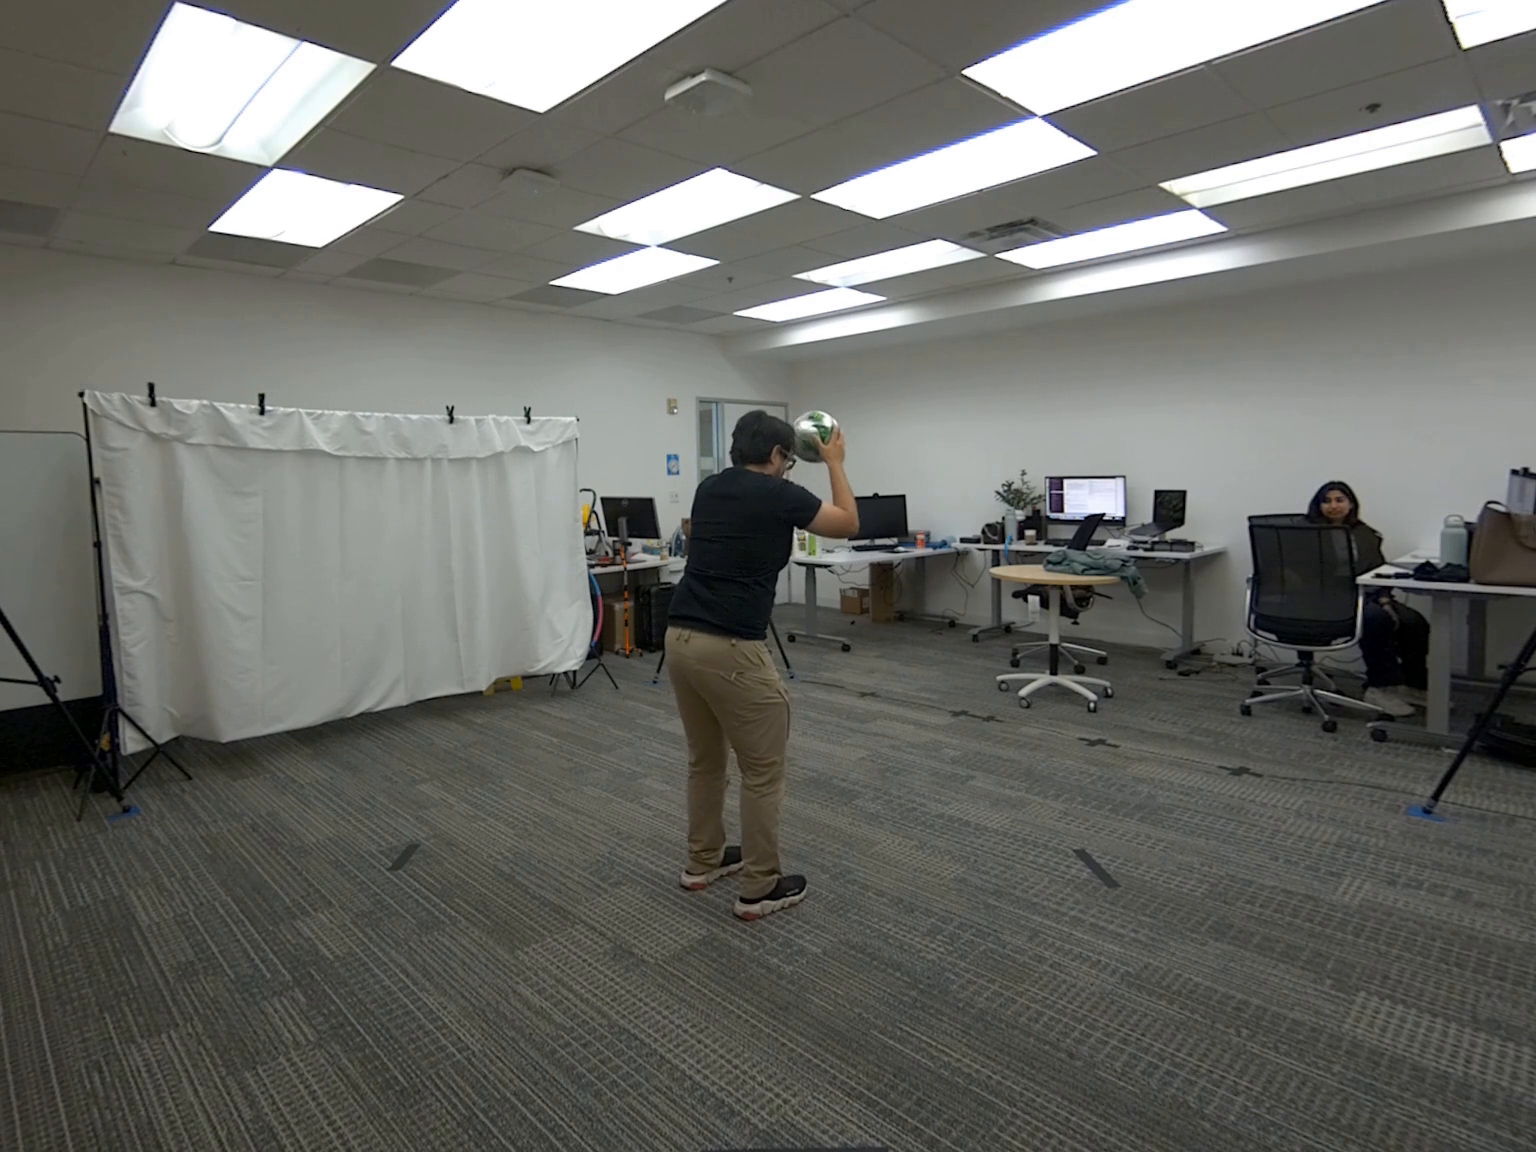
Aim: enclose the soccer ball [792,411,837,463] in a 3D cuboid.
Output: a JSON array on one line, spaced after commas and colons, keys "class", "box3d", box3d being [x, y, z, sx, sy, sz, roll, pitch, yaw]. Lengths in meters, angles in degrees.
[{"class": "soccer ball", "box3d": [0.176, -0.489, 3.080, 0.187, 0.187, 0.188, -1, 5, -2]}]
